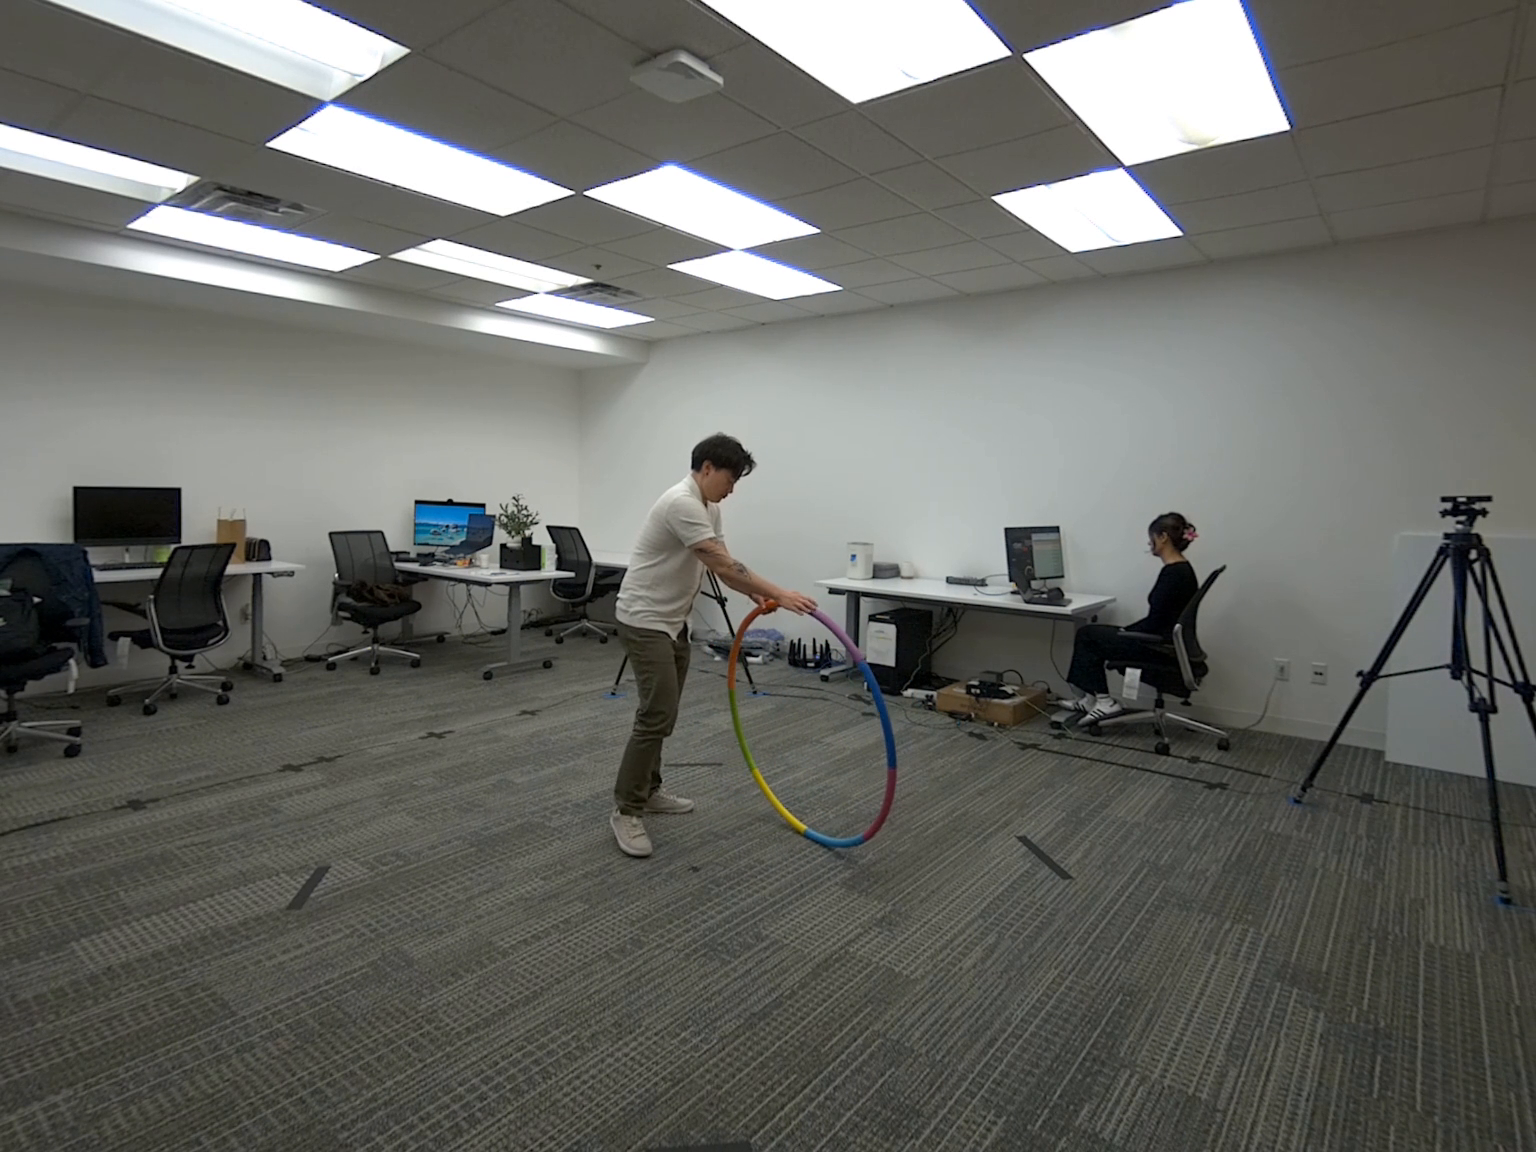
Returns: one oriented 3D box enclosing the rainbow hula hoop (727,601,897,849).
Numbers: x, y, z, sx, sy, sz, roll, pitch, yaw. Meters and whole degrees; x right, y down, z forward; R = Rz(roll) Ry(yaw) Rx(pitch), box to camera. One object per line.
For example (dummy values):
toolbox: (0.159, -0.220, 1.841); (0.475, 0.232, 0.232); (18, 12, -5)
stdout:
rainbow hula hoop: (0.131, 0.564, 3.324); (0.035, 0.971, 1.011); (-10, 10, -36)
